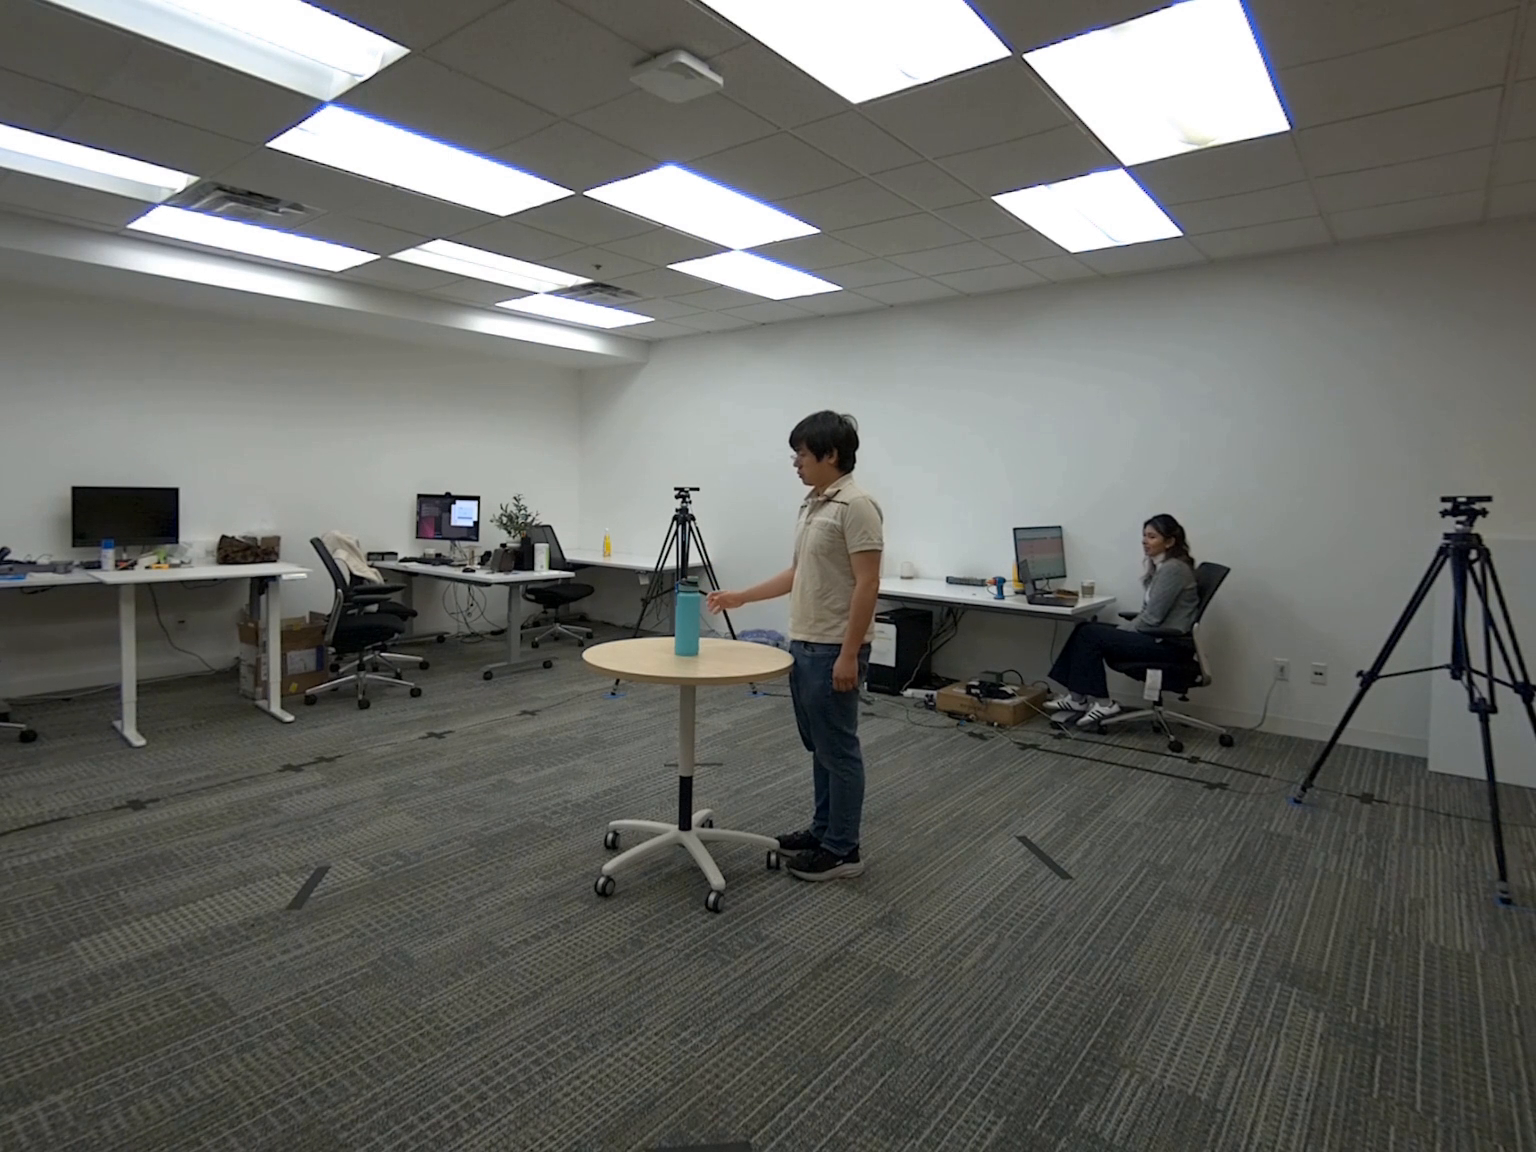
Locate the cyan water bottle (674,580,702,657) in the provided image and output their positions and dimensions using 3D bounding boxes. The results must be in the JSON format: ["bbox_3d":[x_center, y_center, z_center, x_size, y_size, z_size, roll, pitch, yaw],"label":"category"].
[{"bbox_3d":[-0.304,0.142,3.106,0.092,0.283,0.092,1,2,-2],"label":"cyan water bottle"}]
